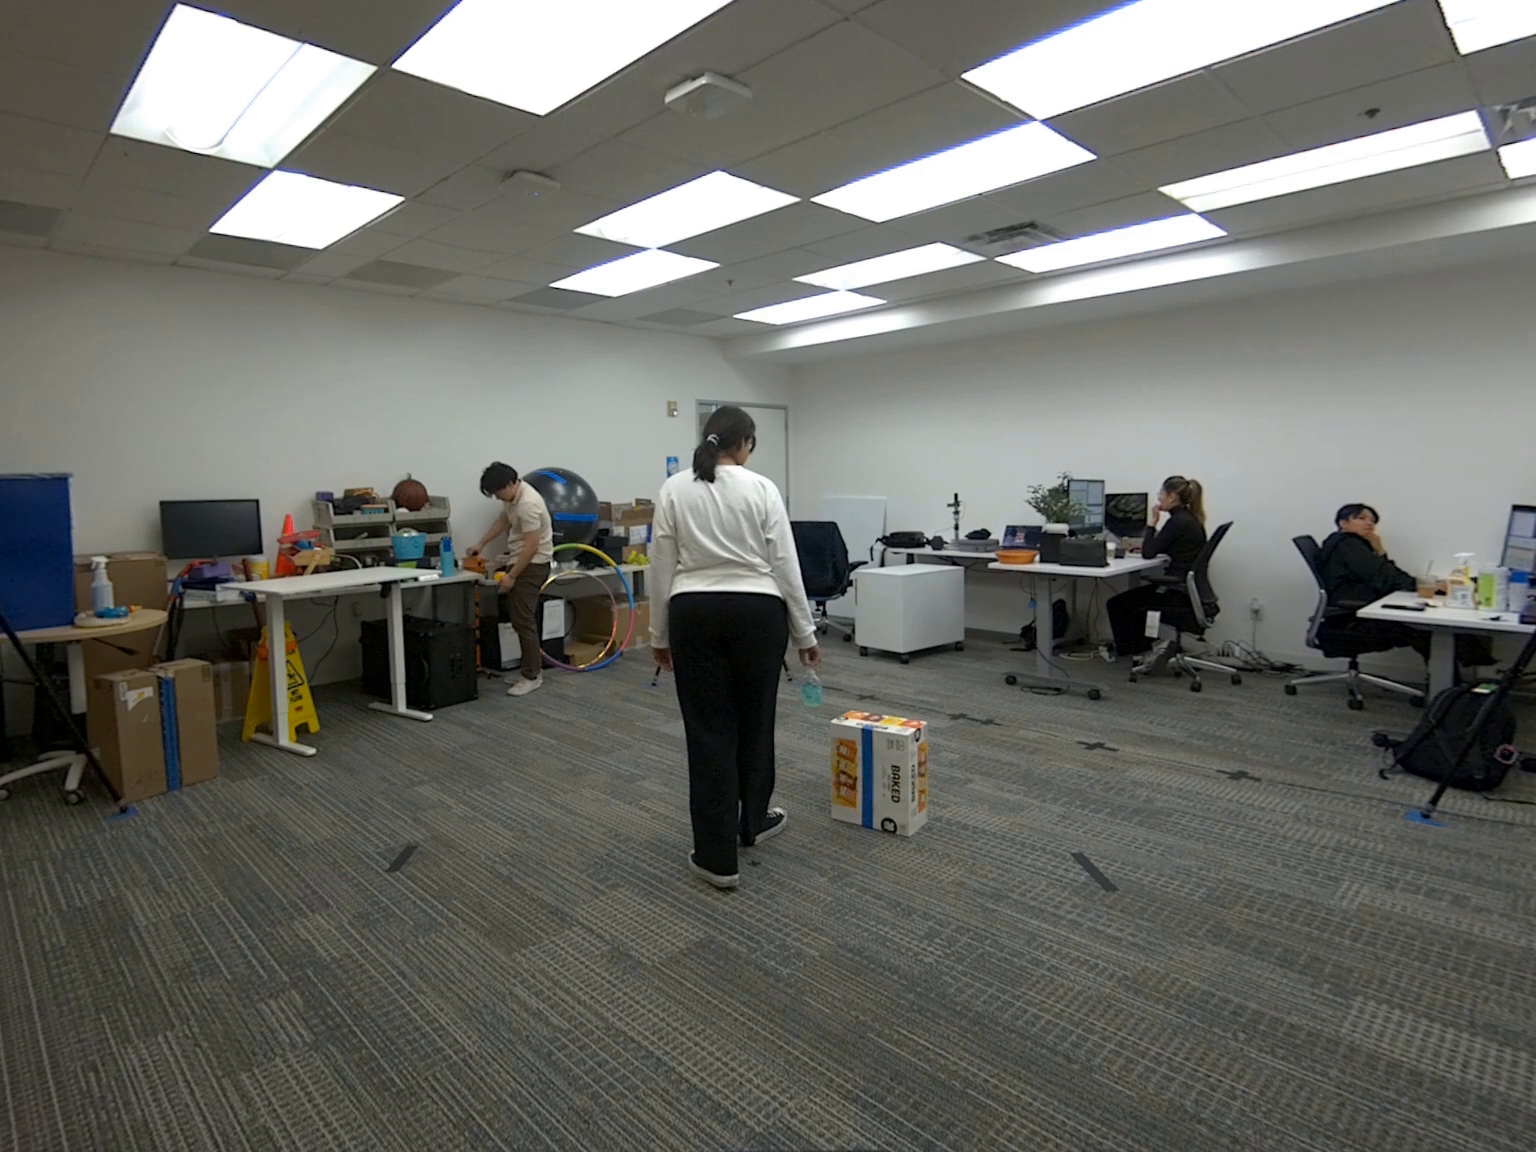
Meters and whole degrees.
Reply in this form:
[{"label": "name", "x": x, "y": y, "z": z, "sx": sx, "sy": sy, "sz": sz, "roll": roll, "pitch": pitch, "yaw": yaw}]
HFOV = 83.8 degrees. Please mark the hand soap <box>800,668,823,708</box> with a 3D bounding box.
[{"label": "hand soap", "x": 0.155, "y": 0.398, "z": 3.172, "sx": 0.086, "sy": 0.167, "sz": 0.043, "roll": -3, "pitch": 5, "yaw": 15}]
